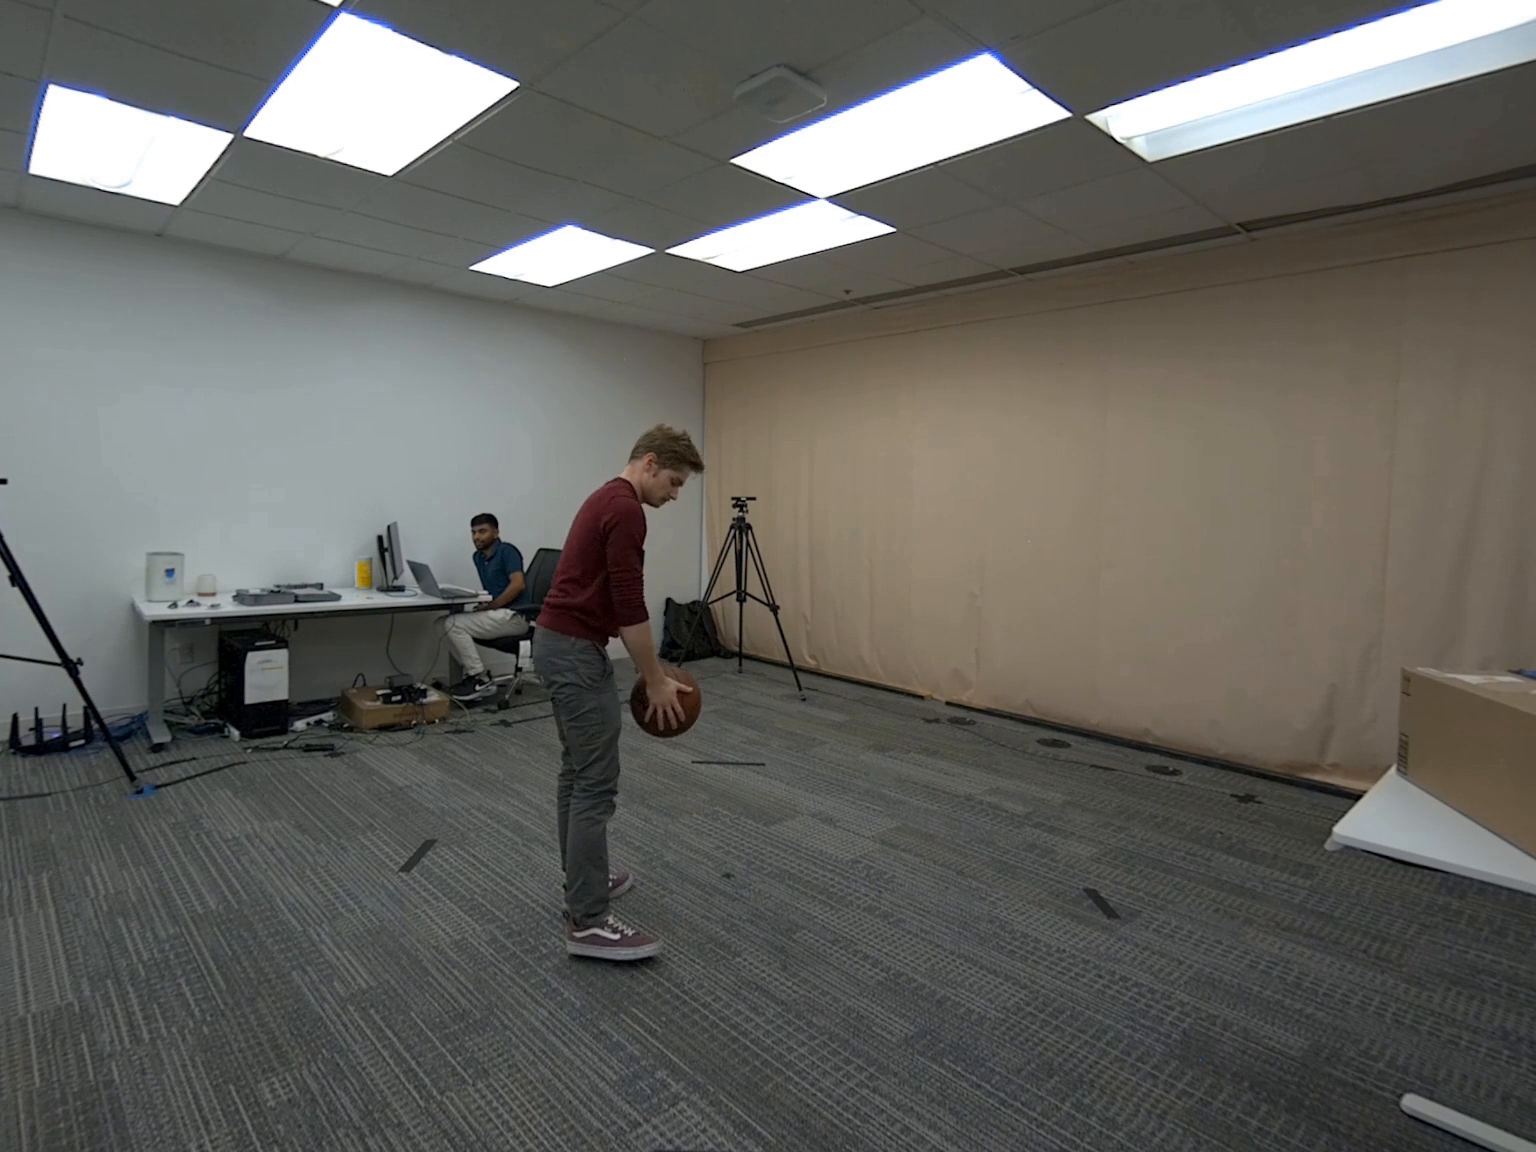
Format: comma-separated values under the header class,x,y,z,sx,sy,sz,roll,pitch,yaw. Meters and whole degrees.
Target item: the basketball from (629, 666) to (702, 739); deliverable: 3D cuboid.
class,x,y,z,sx,sy,sz,roll,pitch,yaw
basketball,-0.342,0.412,2.811,0.236,0.235,0.237,1,4,-1
